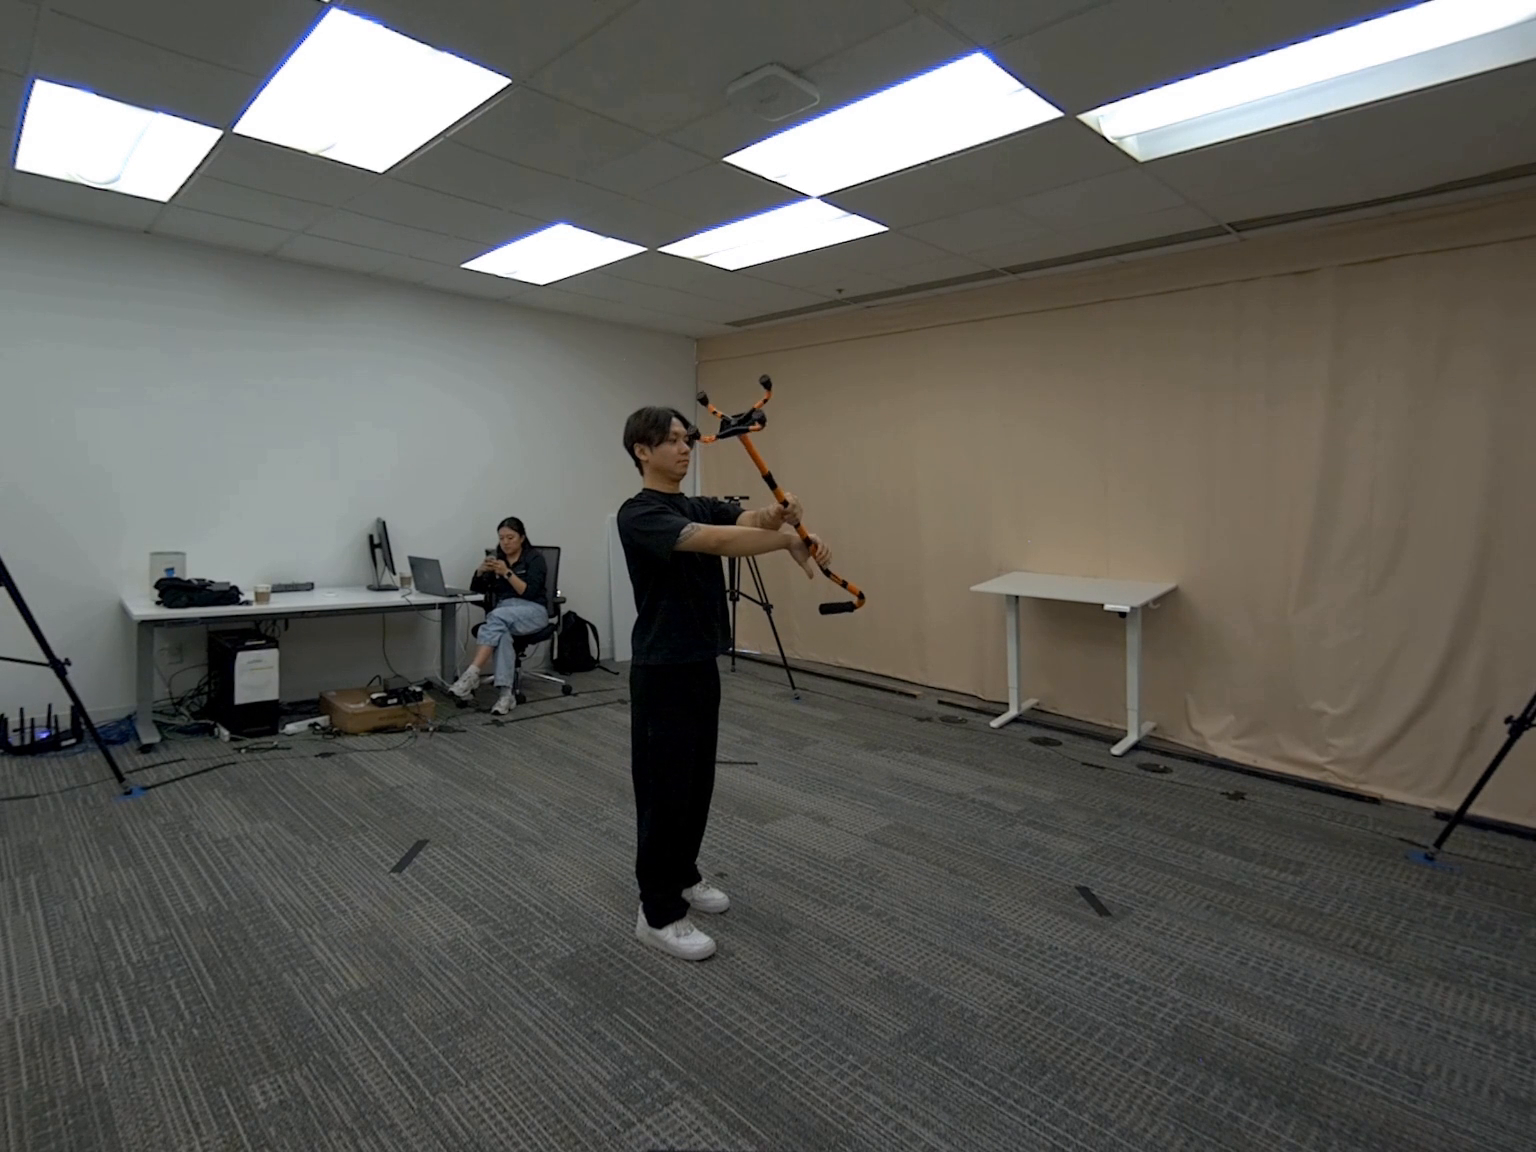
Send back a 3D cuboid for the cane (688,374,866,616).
[{"bbox_3d":[0.069,-0.164,2.340,0.209,0.154,0.879,-9,-39,24],"label":"cane"}]
